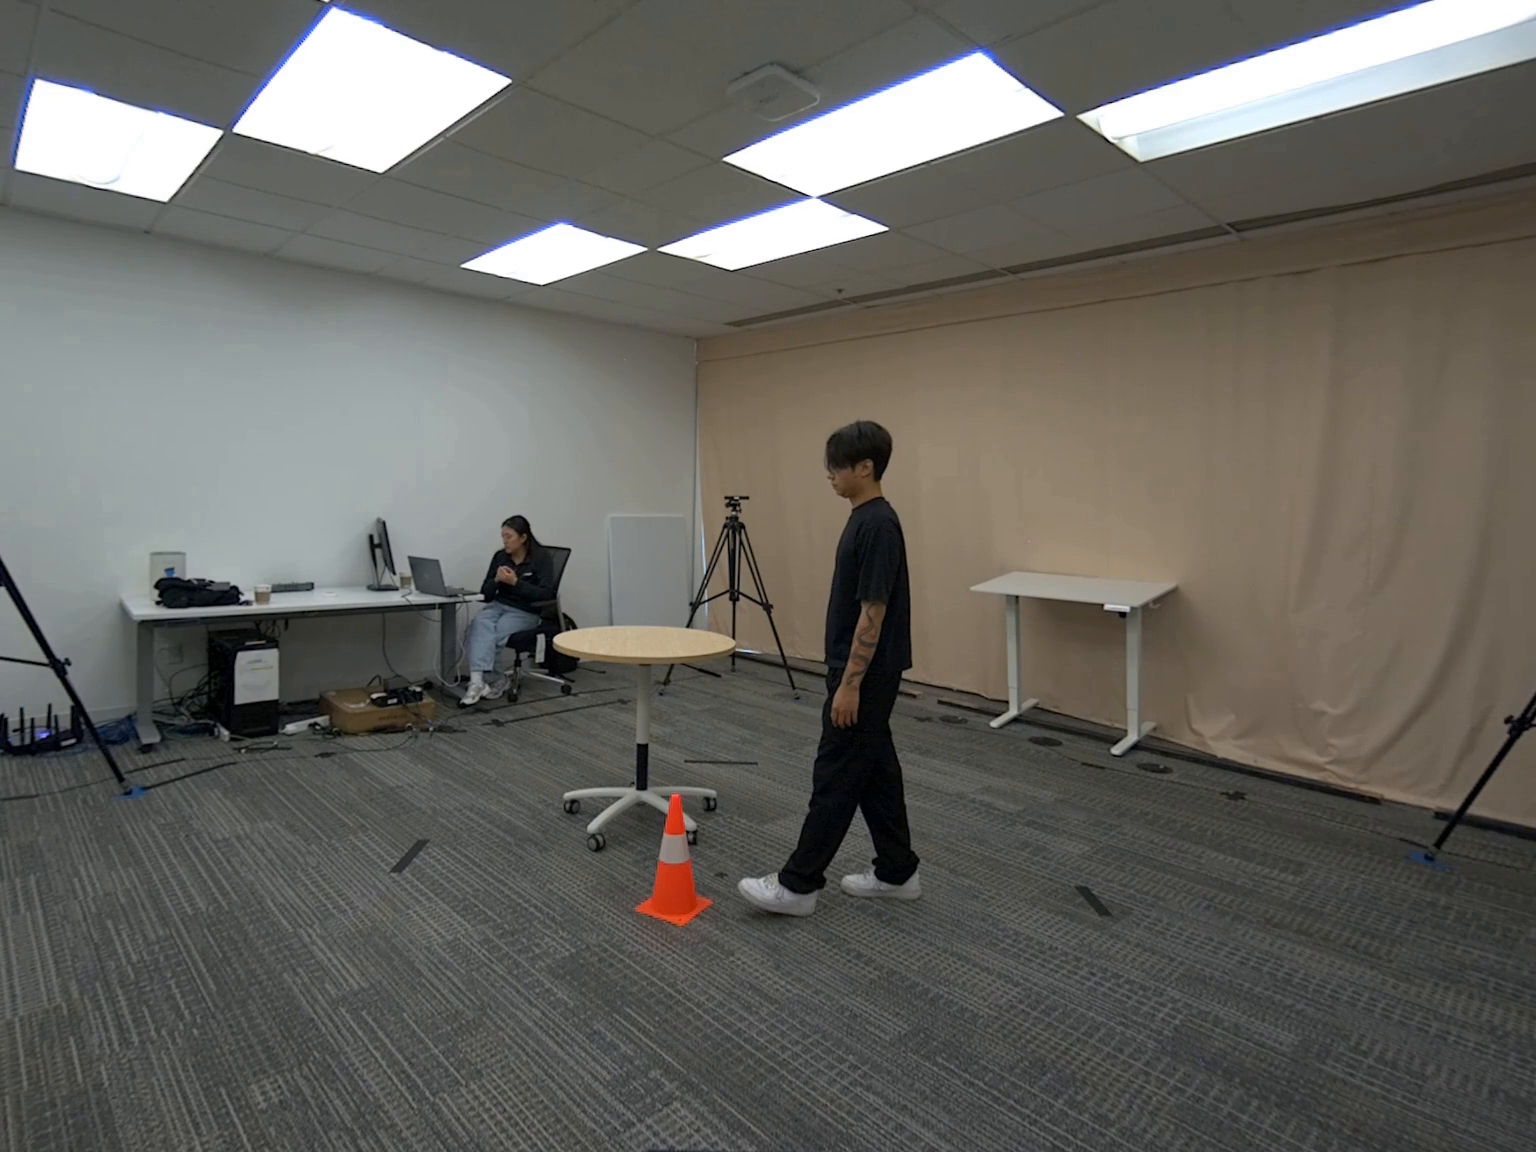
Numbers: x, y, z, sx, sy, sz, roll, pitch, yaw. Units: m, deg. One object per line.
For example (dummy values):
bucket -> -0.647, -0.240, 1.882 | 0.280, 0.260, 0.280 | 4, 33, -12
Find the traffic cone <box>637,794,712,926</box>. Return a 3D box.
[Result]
traffic cone -> -0.320, 0.933, 2.860 | 0.209, 0.383, 0.199 | 2, 2, 27
